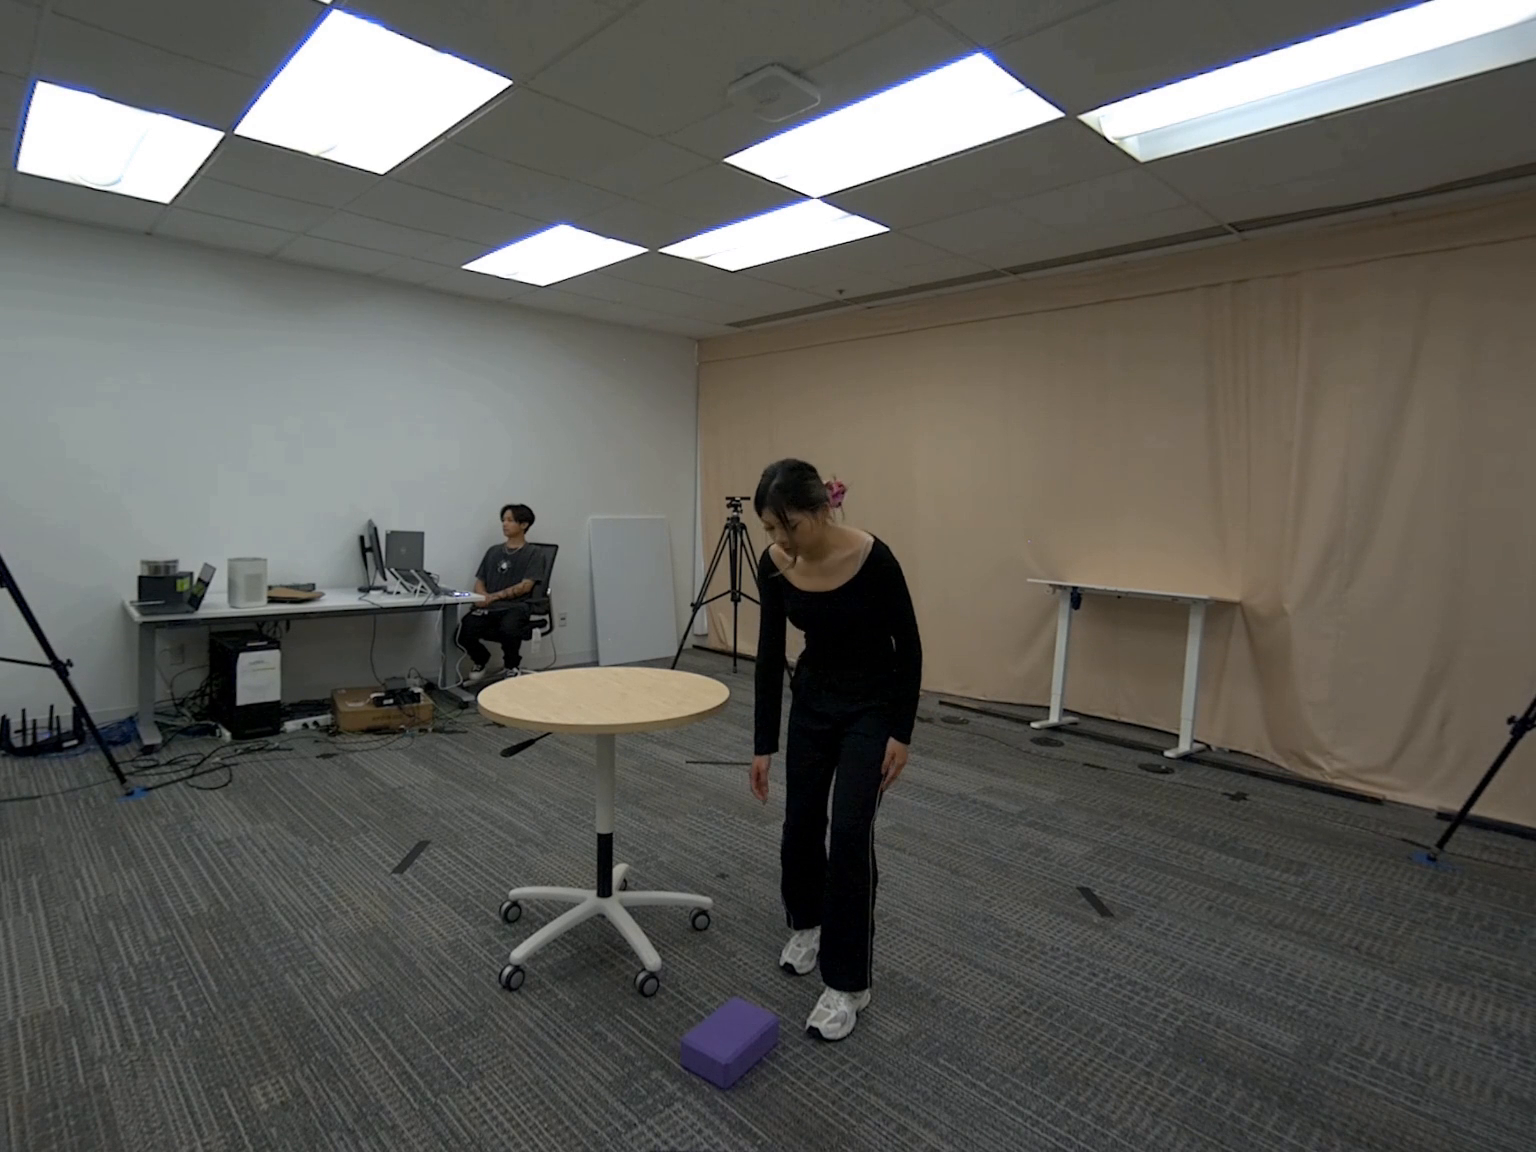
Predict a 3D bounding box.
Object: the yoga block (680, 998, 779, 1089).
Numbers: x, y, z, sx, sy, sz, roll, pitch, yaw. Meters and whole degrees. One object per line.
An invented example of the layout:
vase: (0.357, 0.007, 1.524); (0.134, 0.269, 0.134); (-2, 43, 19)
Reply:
yoga block: (-0.099, 1.161, 2.099); (0.153, 0.076, 0.224); (6, 8, 35)
